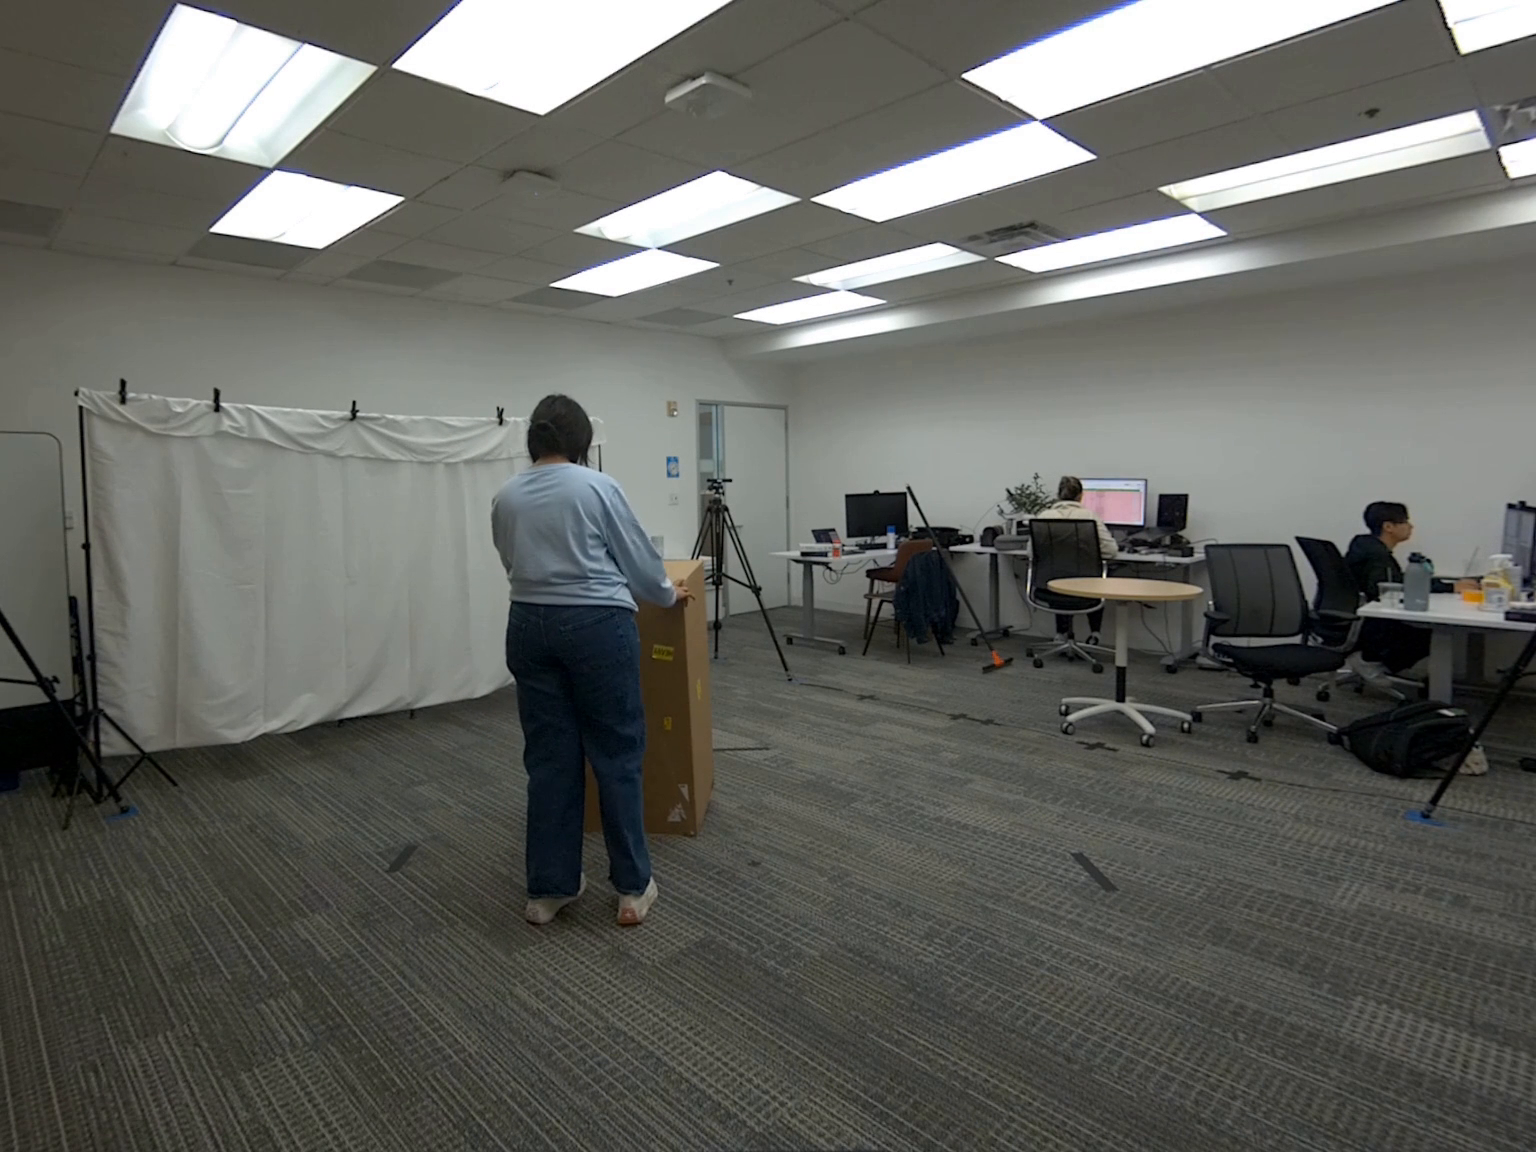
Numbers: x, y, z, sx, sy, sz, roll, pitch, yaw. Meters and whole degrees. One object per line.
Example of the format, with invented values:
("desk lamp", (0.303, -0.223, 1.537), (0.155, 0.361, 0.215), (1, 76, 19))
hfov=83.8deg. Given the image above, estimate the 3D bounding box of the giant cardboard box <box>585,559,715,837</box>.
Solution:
("giant cardboard box", (-0.555, 0.480, 3.512), (0.590, 1.017, 0.446), (0, 11, 11))
